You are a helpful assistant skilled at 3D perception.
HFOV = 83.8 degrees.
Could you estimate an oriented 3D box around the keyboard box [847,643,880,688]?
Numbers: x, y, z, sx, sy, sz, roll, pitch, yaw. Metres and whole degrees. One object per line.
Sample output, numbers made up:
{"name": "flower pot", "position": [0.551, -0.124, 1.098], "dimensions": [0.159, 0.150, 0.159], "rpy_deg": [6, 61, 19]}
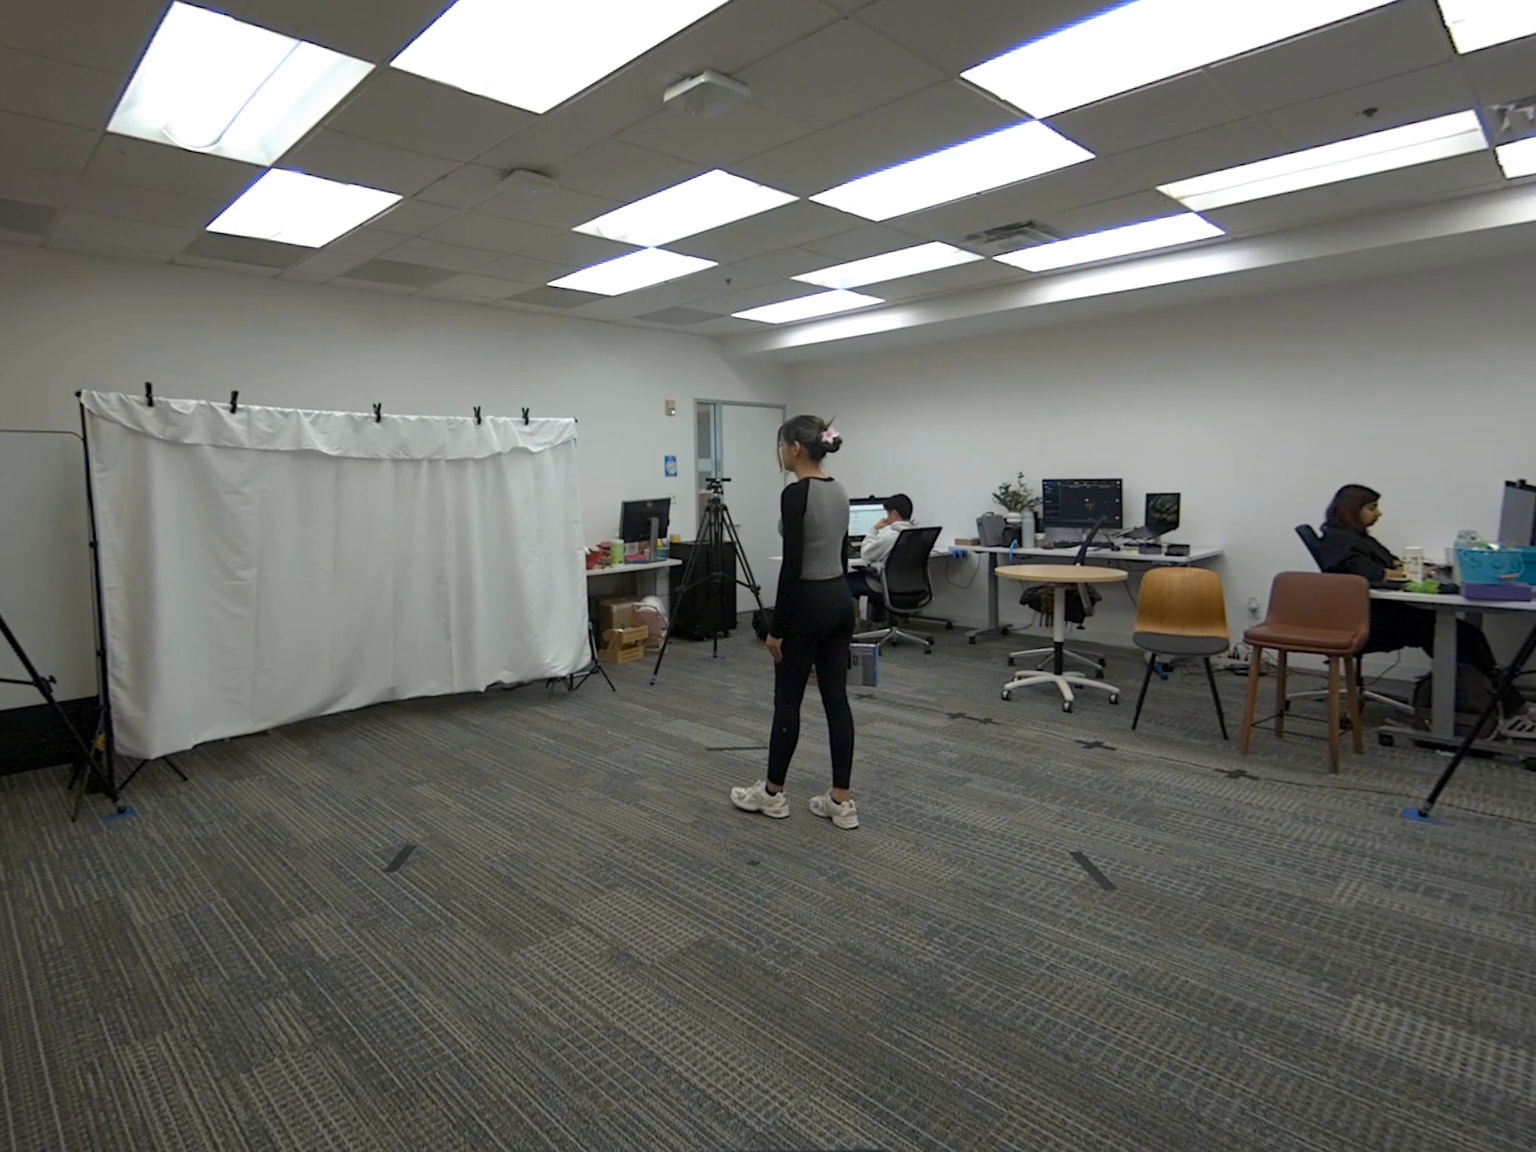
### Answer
{"name": "keyboard box", "position": [0.258, 0.375, 3.711], "dimensions": [0.446, 0.175, 0.058], "rpy_deg": [3, 4, 21]}
